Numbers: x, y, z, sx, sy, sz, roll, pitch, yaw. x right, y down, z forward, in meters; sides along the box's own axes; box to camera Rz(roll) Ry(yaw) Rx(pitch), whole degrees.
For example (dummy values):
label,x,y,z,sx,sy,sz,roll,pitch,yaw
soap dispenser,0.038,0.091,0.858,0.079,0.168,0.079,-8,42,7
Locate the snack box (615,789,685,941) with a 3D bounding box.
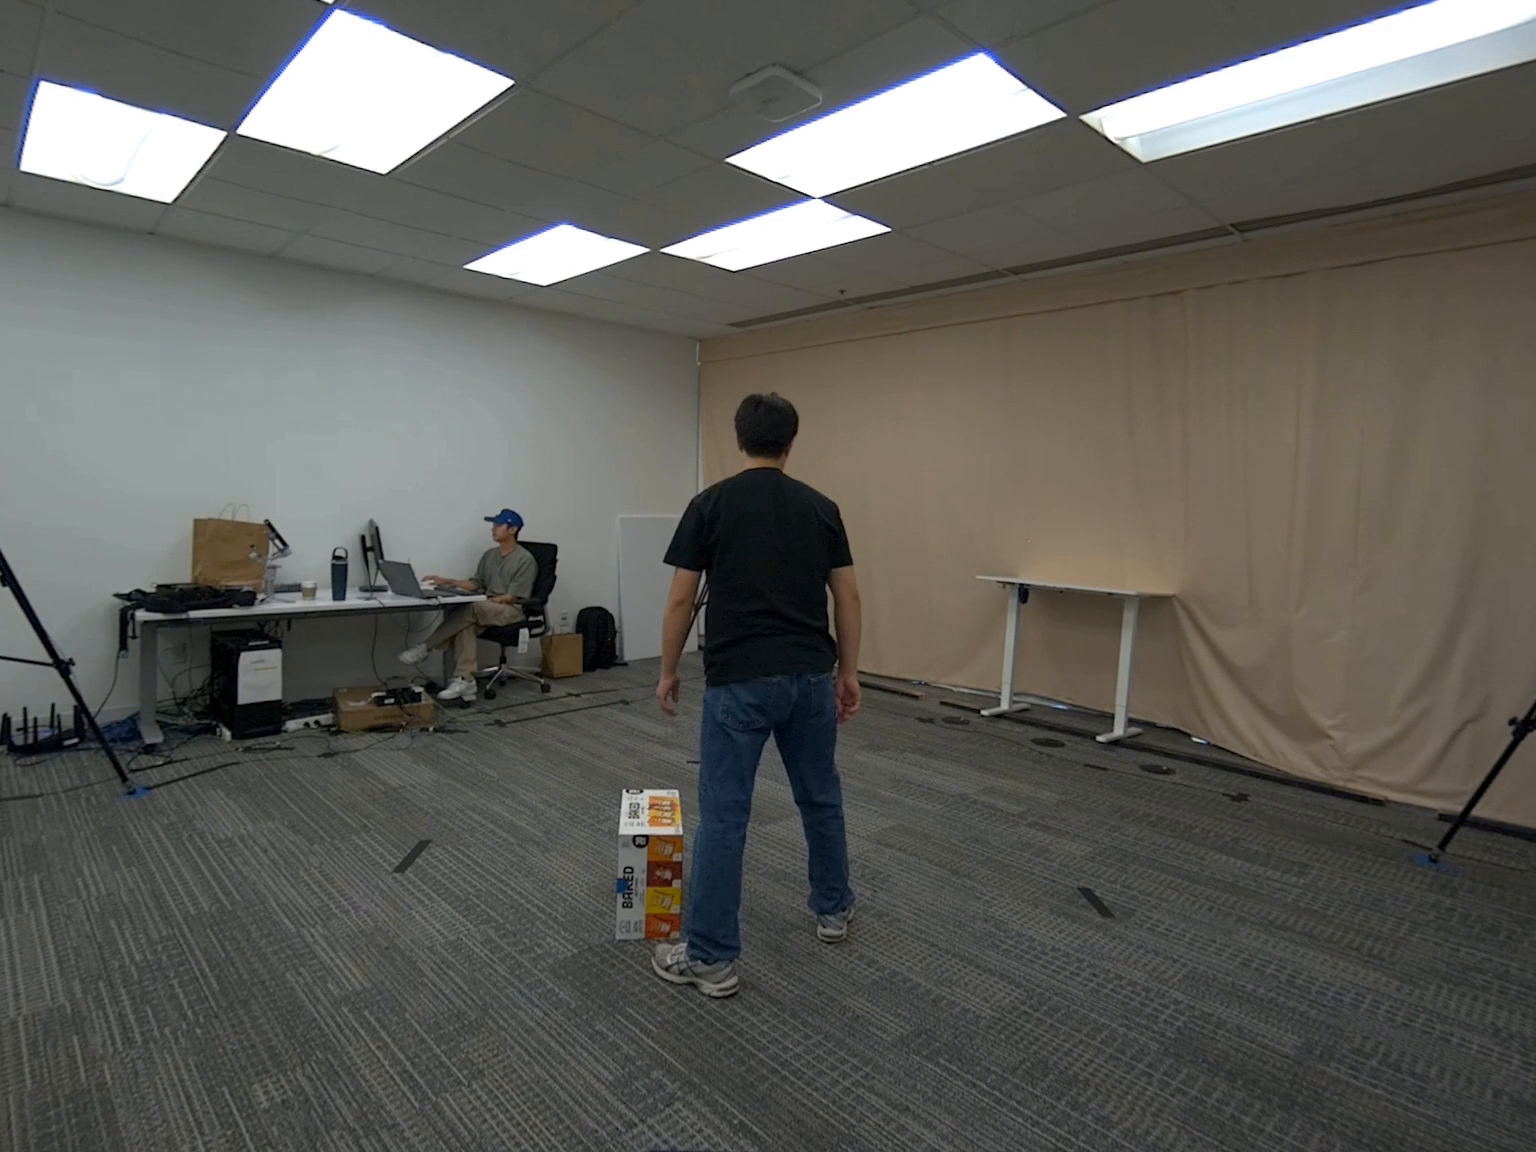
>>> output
label,x,y,z,sx,sy,sz,roll,pitch,yaw
snack box,-0.411,0.960,2.834,0.205,0.339,0.408,3,5,-6
